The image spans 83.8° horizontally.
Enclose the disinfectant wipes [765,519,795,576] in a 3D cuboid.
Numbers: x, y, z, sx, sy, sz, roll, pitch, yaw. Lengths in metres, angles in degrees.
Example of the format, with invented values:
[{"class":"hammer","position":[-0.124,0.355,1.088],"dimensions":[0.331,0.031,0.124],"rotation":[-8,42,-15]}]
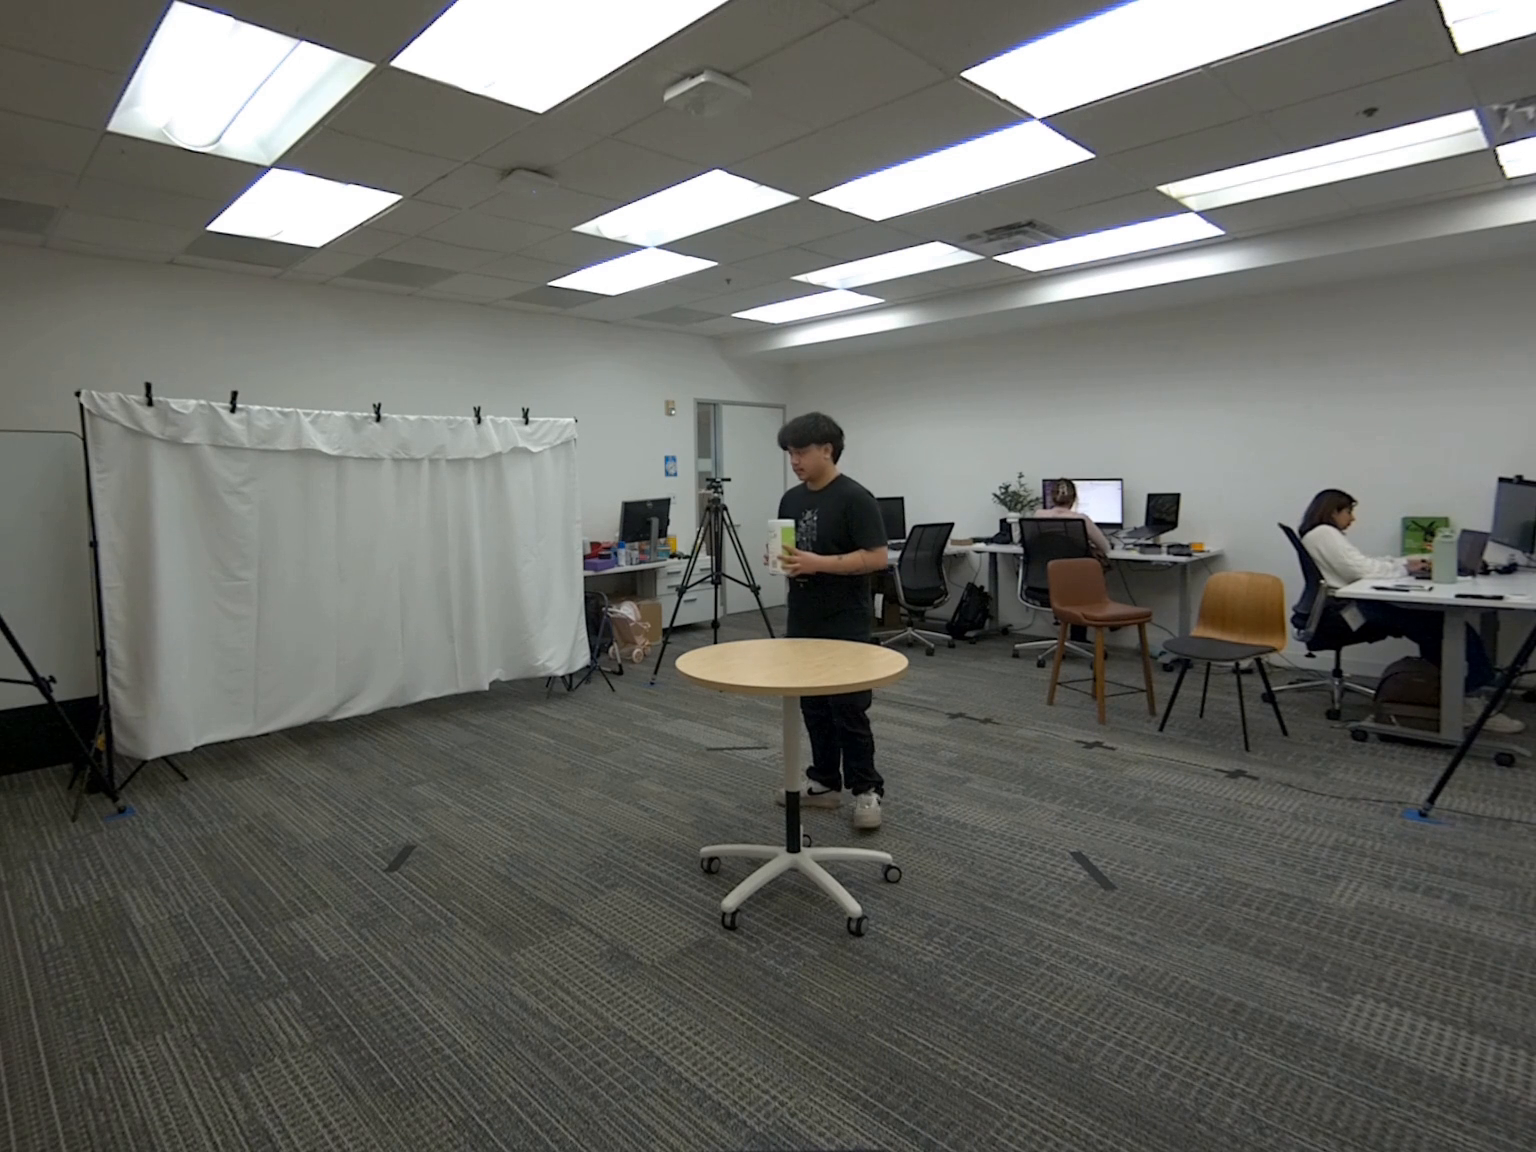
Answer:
[{"class":"disinfectant wipes","position":[0.049,-0.114,3.391],"dimensions":[0.118,0.217,0.118],"rotation":[-2,4,-2]}]
